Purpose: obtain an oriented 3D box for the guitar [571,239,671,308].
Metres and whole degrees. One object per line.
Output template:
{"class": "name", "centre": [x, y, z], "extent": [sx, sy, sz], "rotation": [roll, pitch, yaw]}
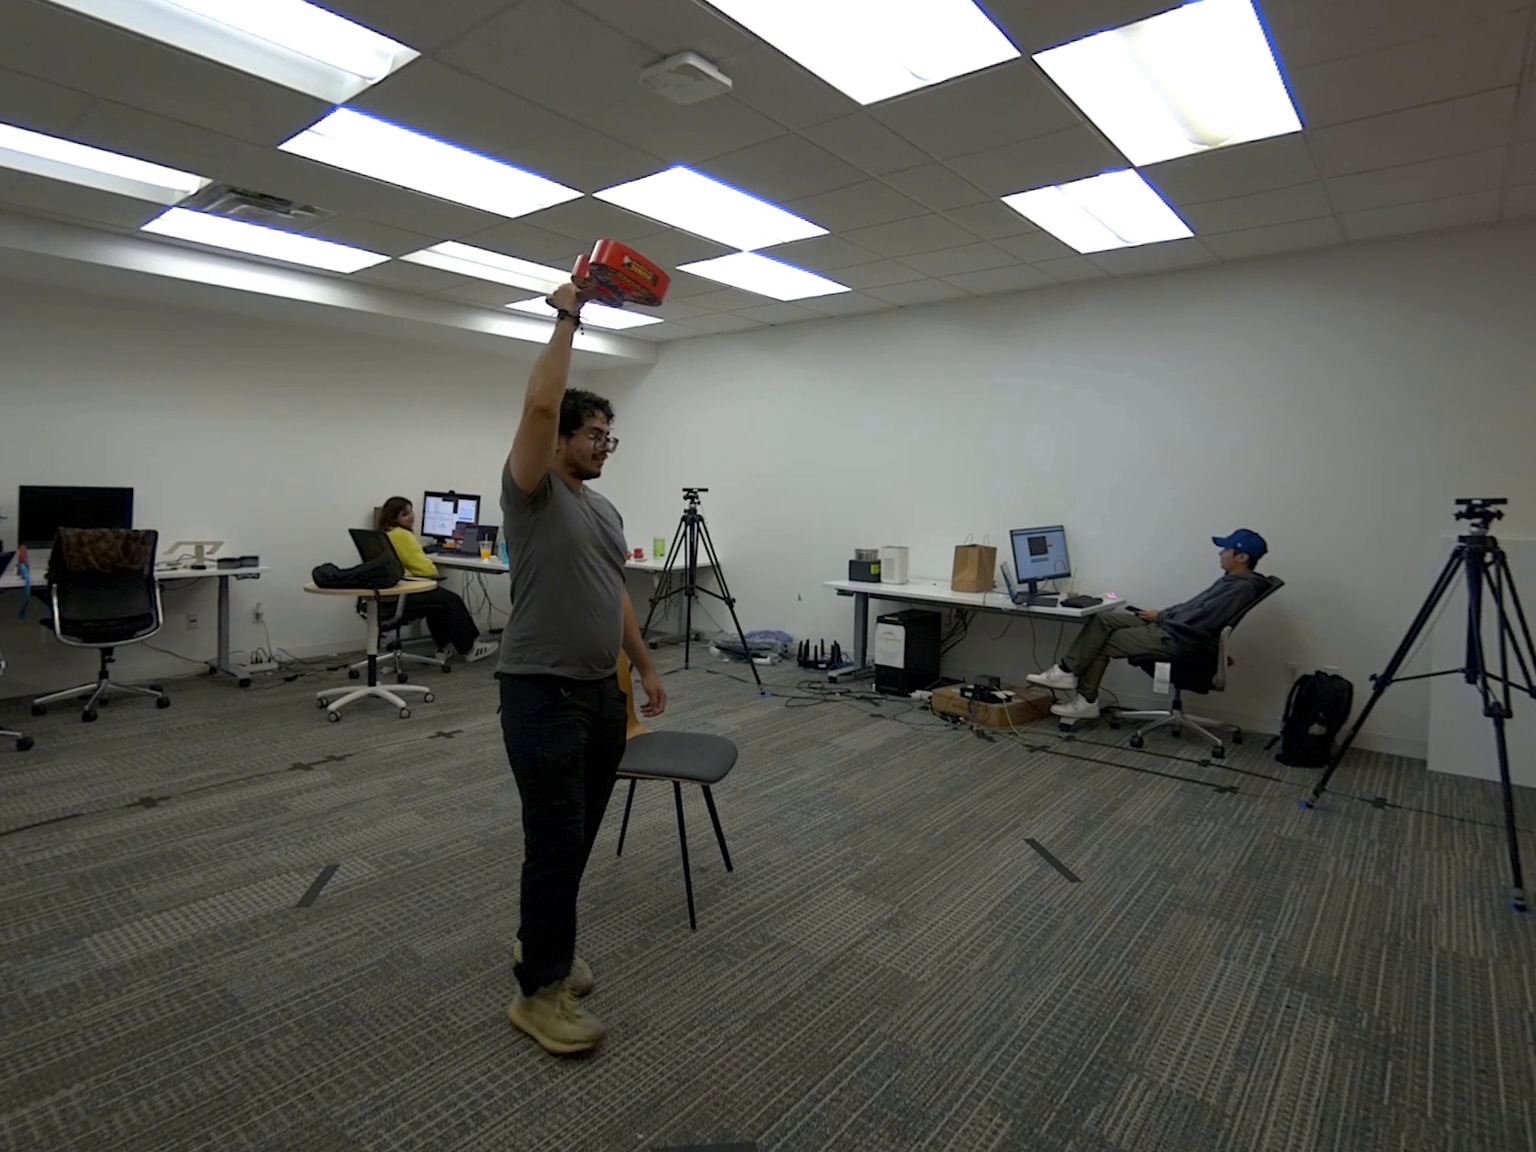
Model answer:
{"class": "guitar", "centre": [-0.458, -0.732, 2.089], "extent": [0.517, 0.071, 0.185], "rotation": [16, -7, 44]}
